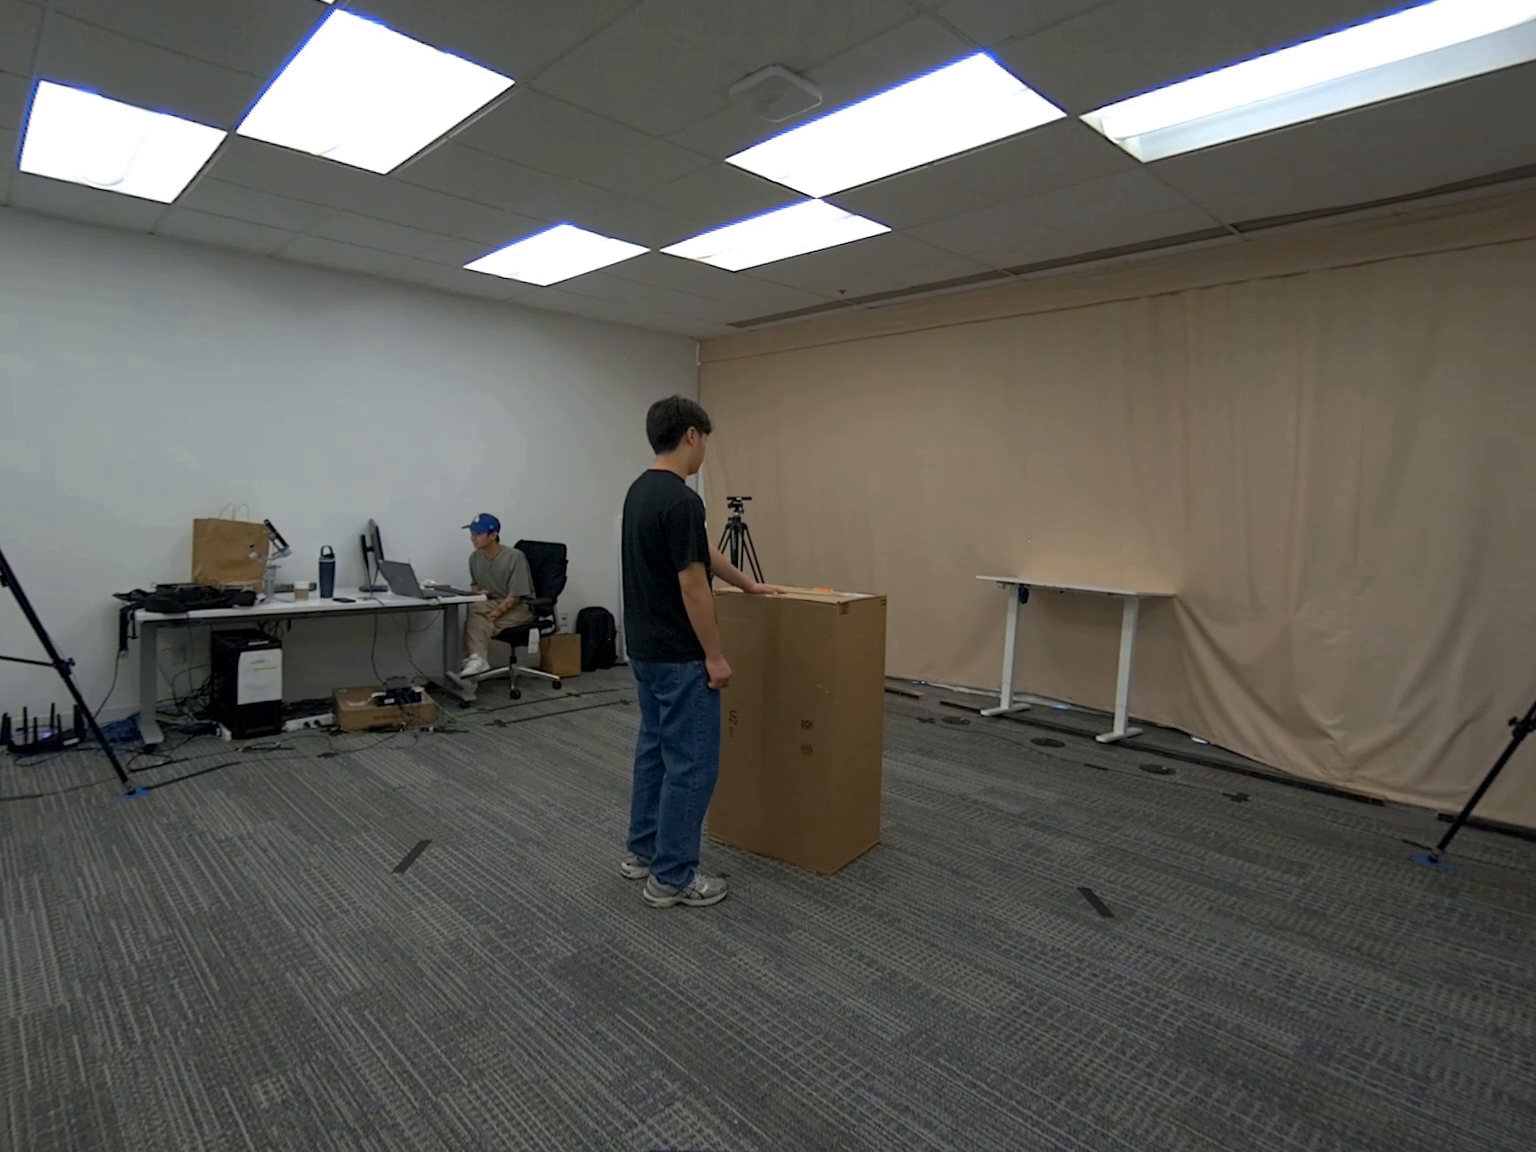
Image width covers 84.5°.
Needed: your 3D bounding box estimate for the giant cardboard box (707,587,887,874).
[{"bbox_3d":[0.119,0.572,3.432,0.598,1.025,0.437,4,3,36],"label":"giant cardboard box"}]
